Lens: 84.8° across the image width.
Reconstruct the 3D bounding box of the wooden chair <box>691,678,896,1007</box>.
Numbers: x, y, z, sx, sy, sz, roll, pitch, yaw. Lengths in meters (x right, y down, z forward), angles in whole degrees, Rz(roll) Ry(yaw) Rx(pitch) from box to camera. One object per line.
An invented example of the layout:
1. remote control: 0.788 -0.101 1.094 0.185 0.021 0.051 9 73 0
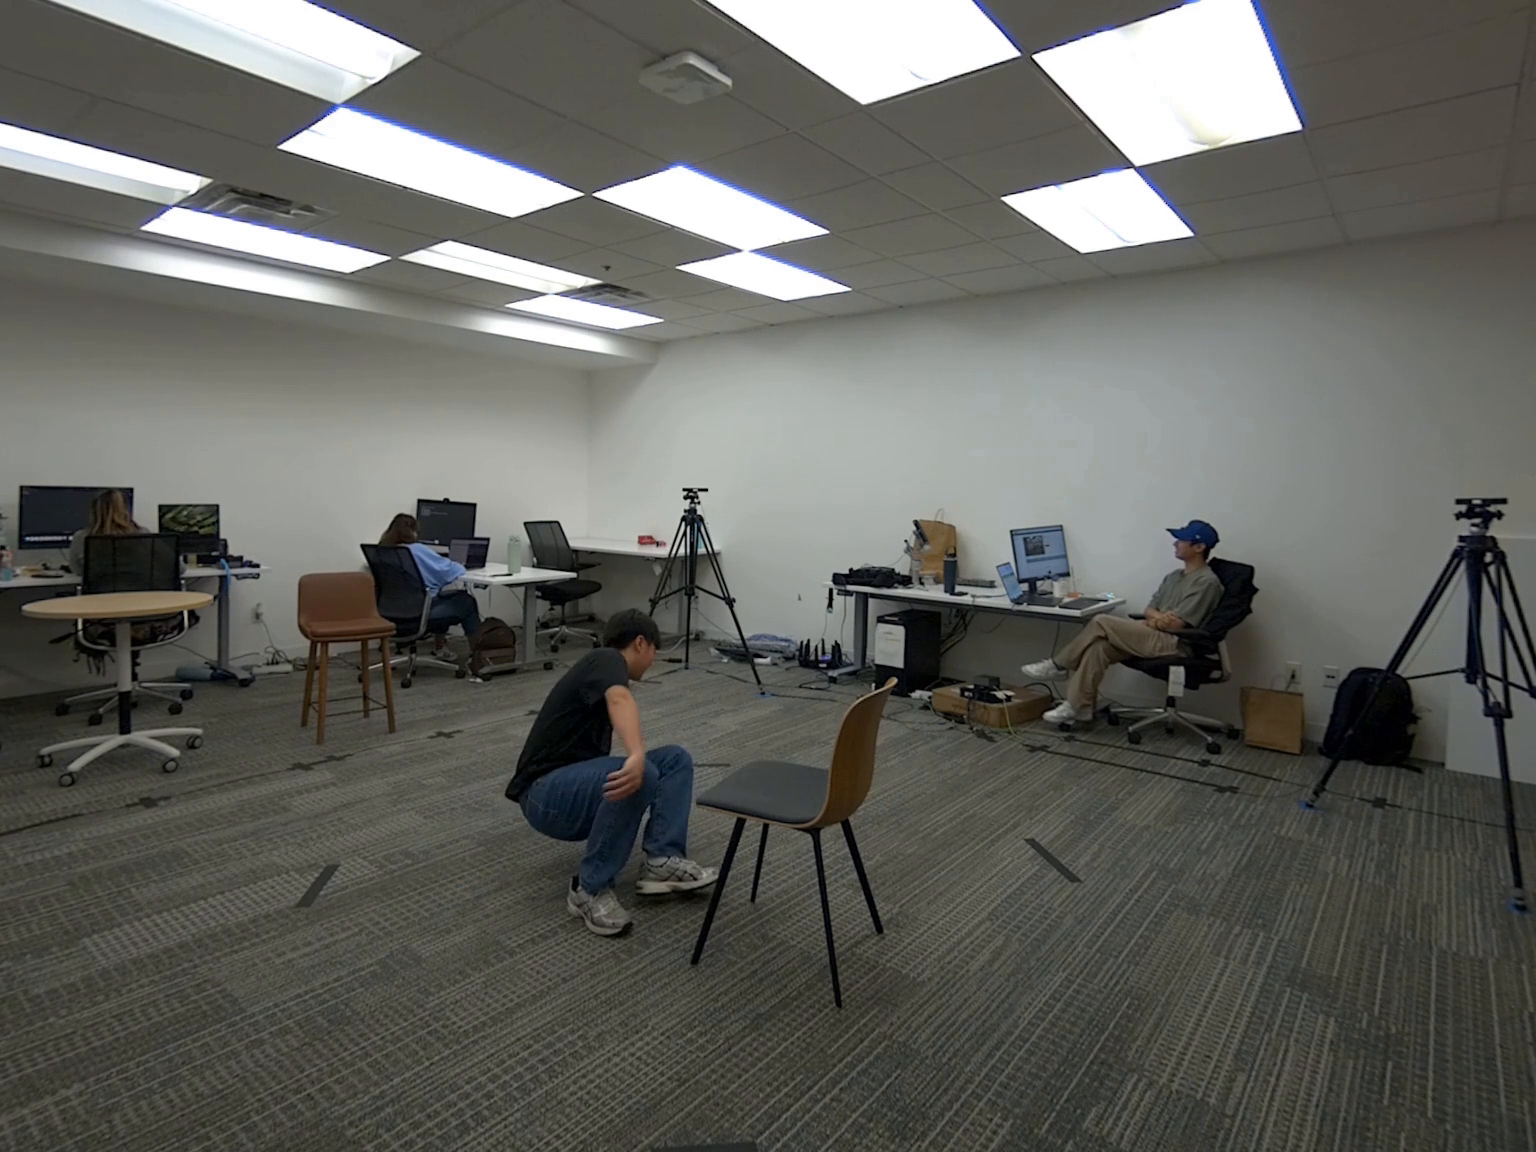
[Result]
1. wooden chair: 0.068 0.700 2.564 0.537 0.874 0.467 8 6 24
